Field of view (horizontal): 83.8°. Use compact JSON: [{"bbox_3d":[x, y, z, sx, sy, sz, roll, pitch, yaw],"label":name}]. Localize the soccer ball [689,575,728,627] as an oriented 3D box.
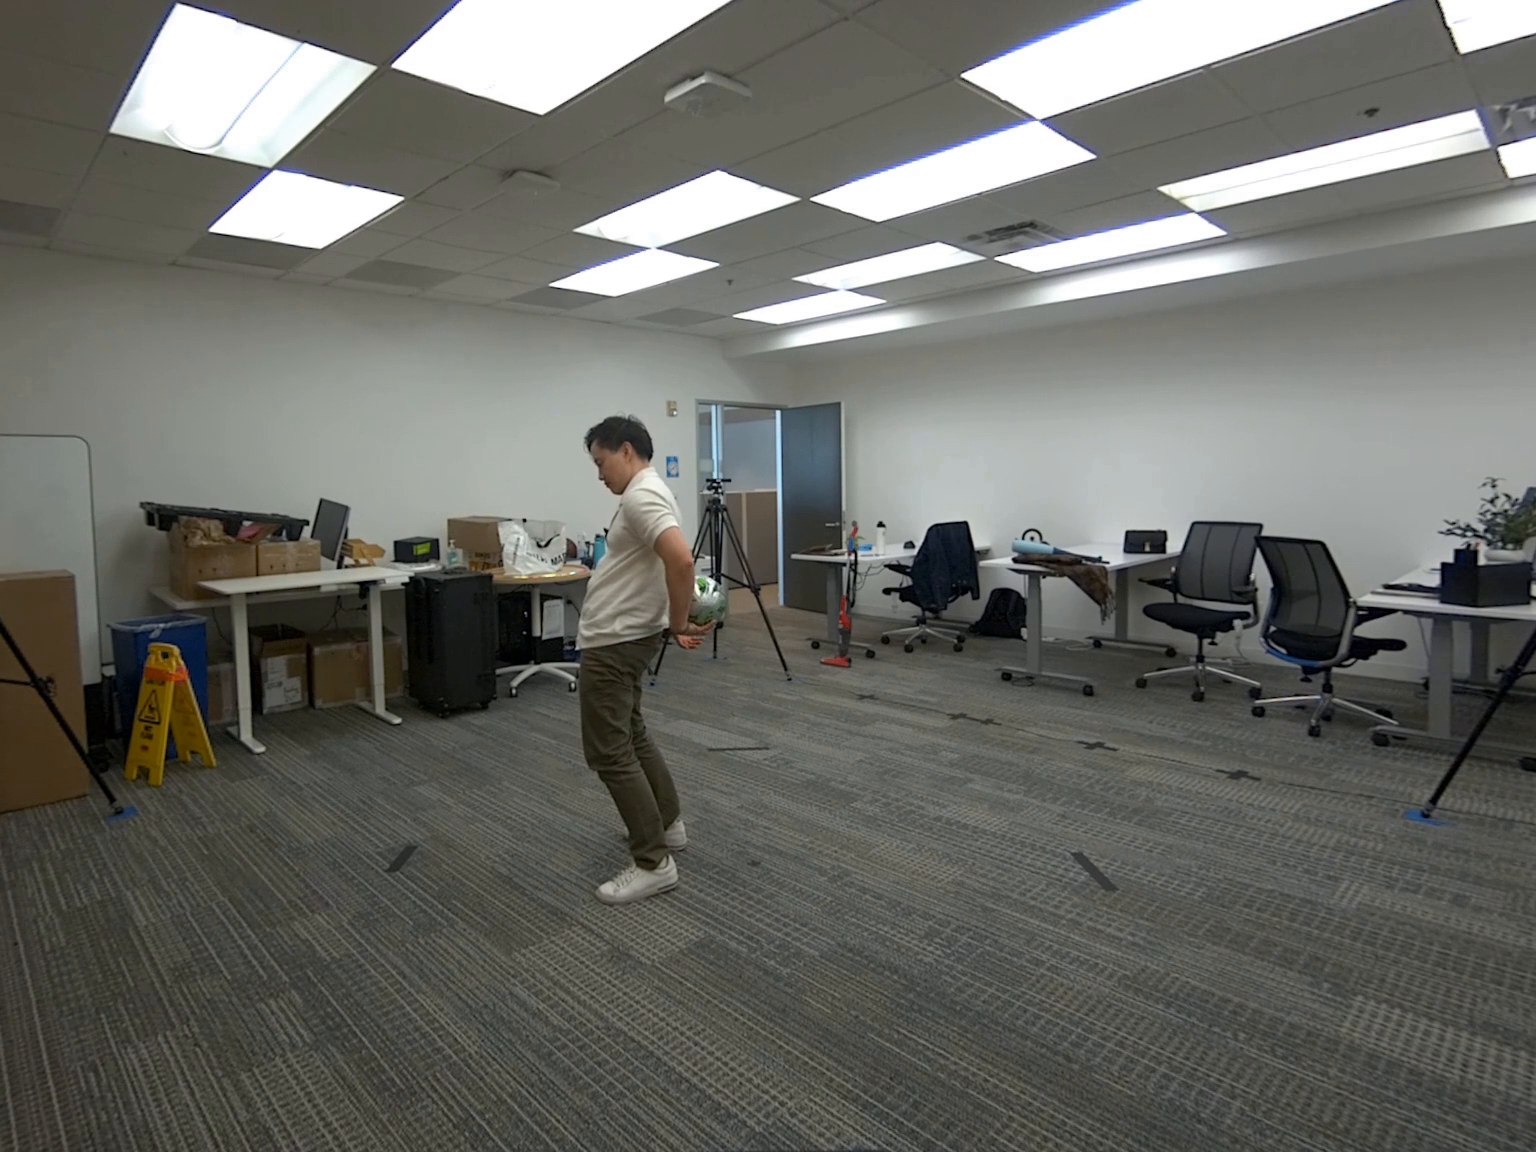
[{"bbox_3d":[-0.242,0.094,2.935,0.187,0.187,0.188,-1,5,-2],"label":"soccer ball"}]
